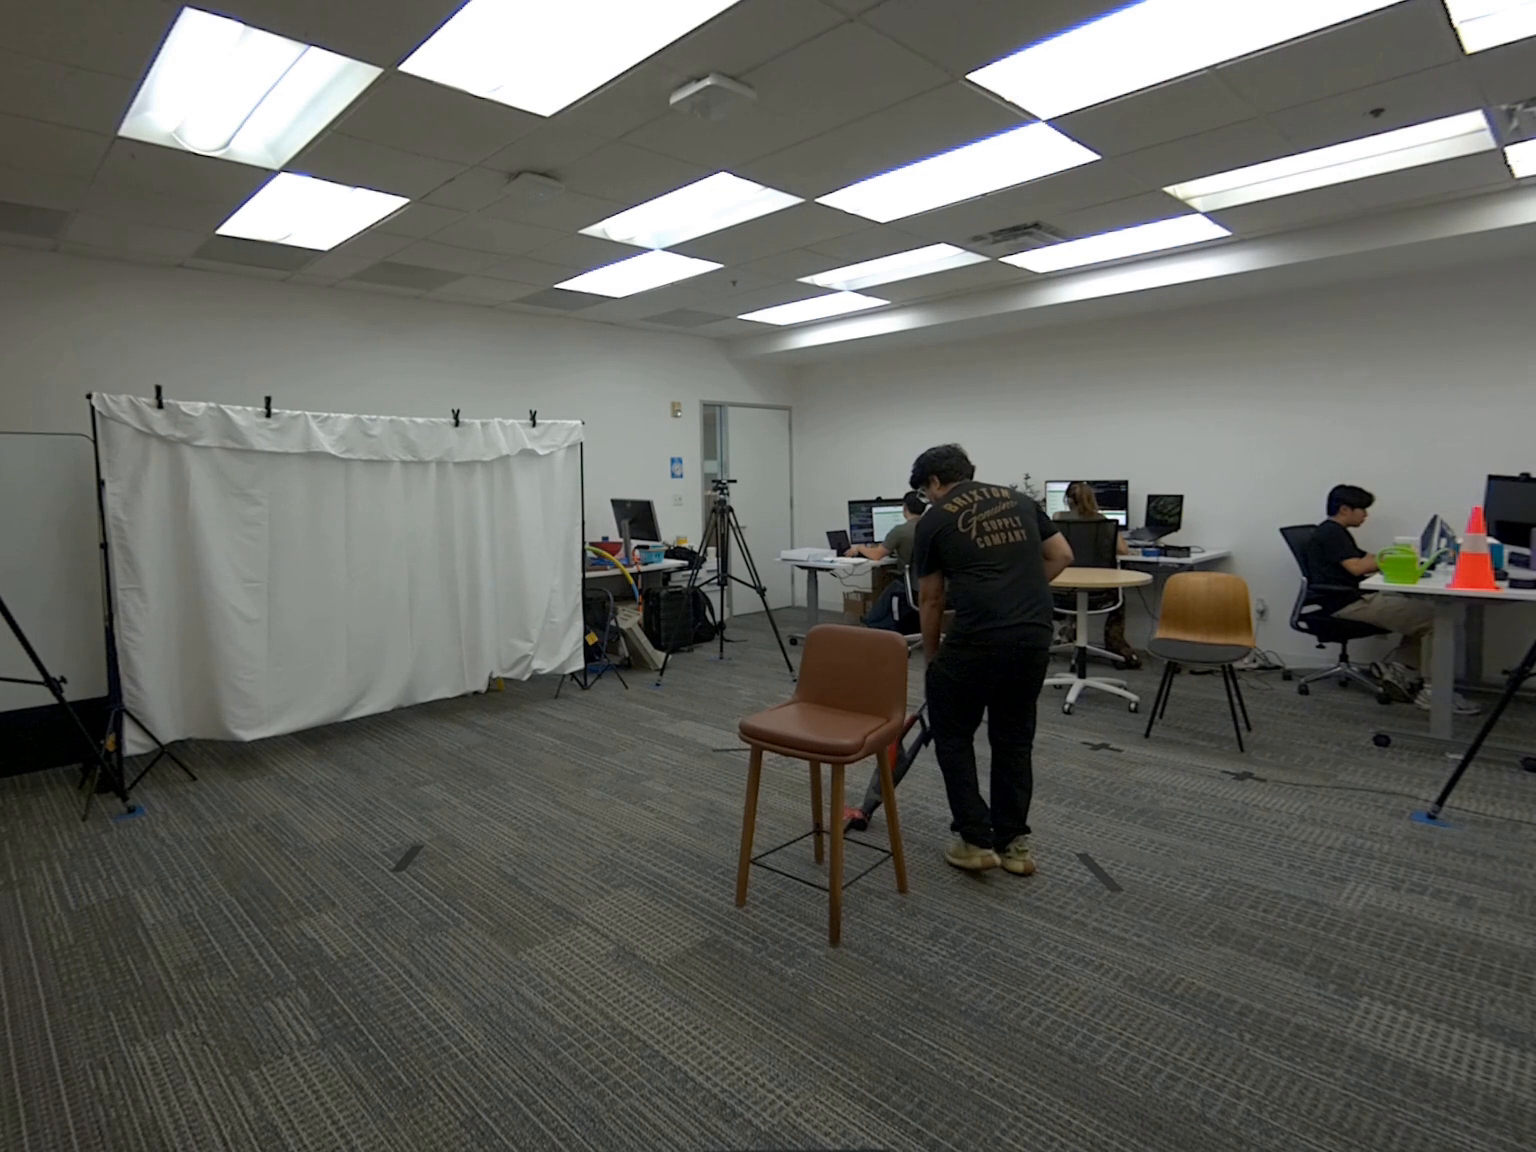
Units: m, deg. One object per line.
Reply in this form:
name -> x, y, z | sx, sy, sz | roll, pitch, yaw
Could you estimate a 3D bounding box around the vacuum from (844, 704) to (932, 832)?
vacuum -> 0.604, 0.569, 3.347 | 0.146, 1.046, 0.249 | 34, 12, 10
